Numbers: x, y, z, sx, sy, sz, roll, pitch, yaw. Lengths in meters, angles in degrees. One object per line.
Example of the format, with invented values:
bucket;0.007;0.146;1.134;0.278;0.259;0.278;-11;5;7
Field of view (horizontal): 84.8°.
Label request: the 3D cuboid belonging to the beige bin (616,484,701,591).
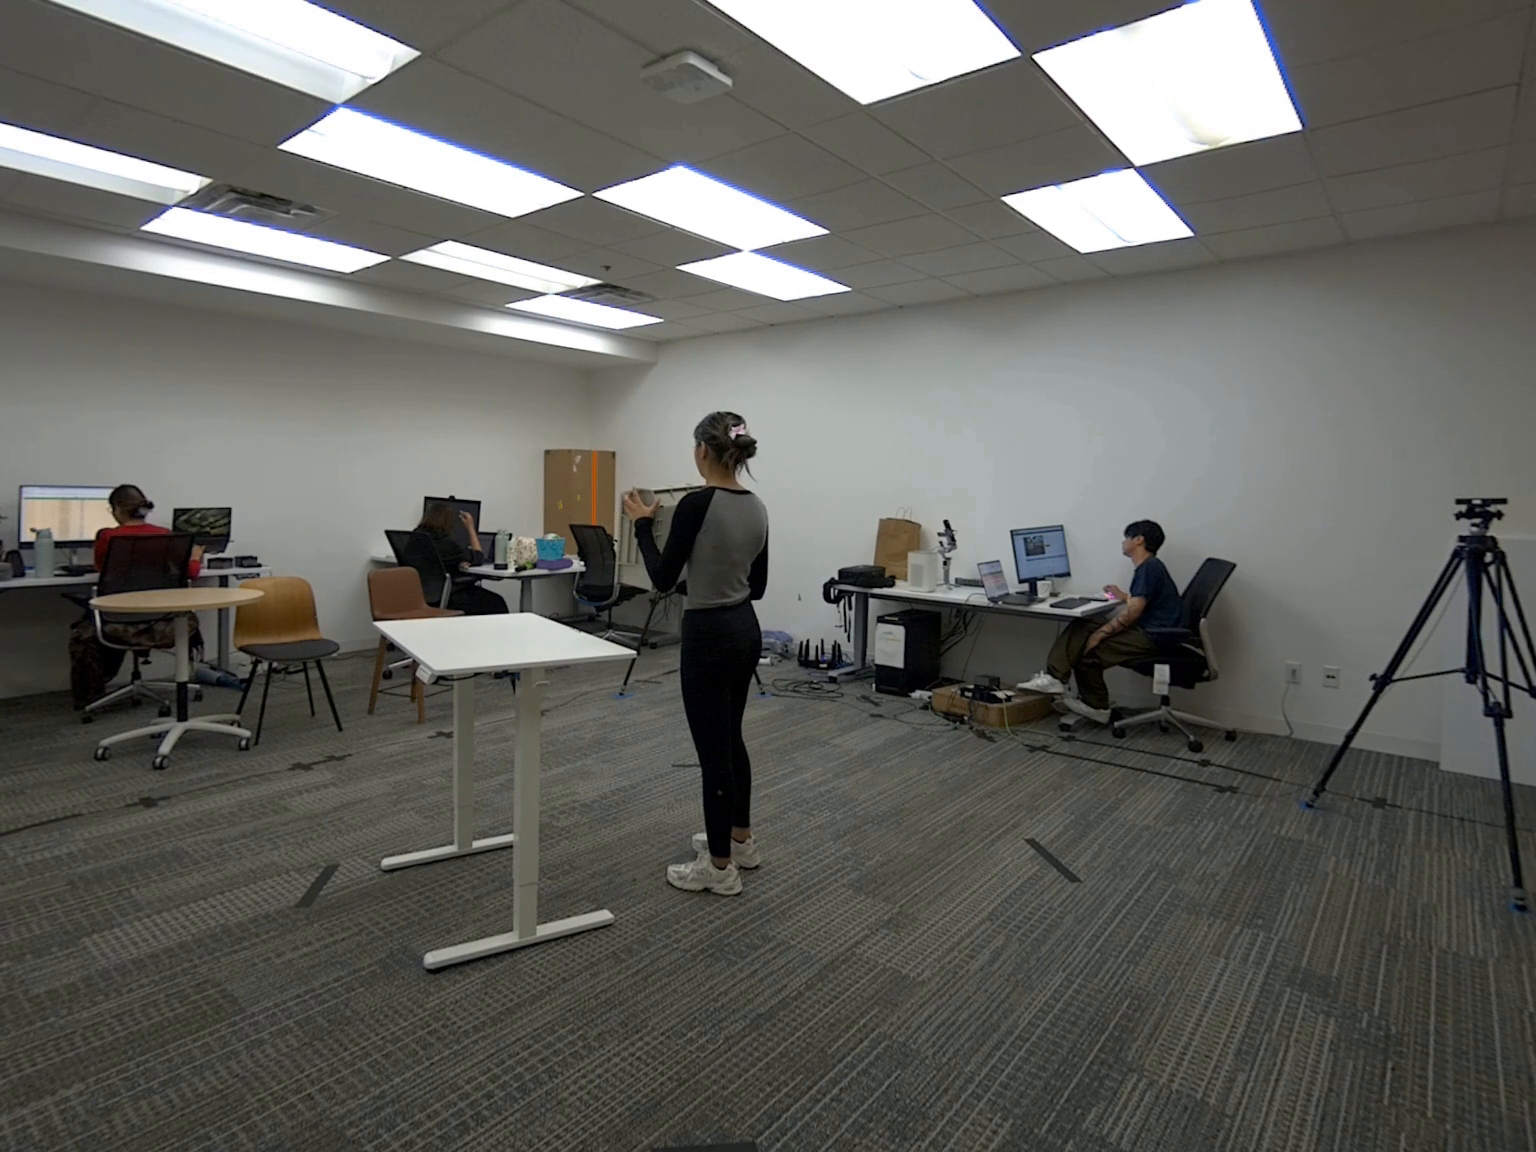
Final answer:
beige bin;-0.366;-0.160;3.204;0.195;0.374;0.412;12;14;33
